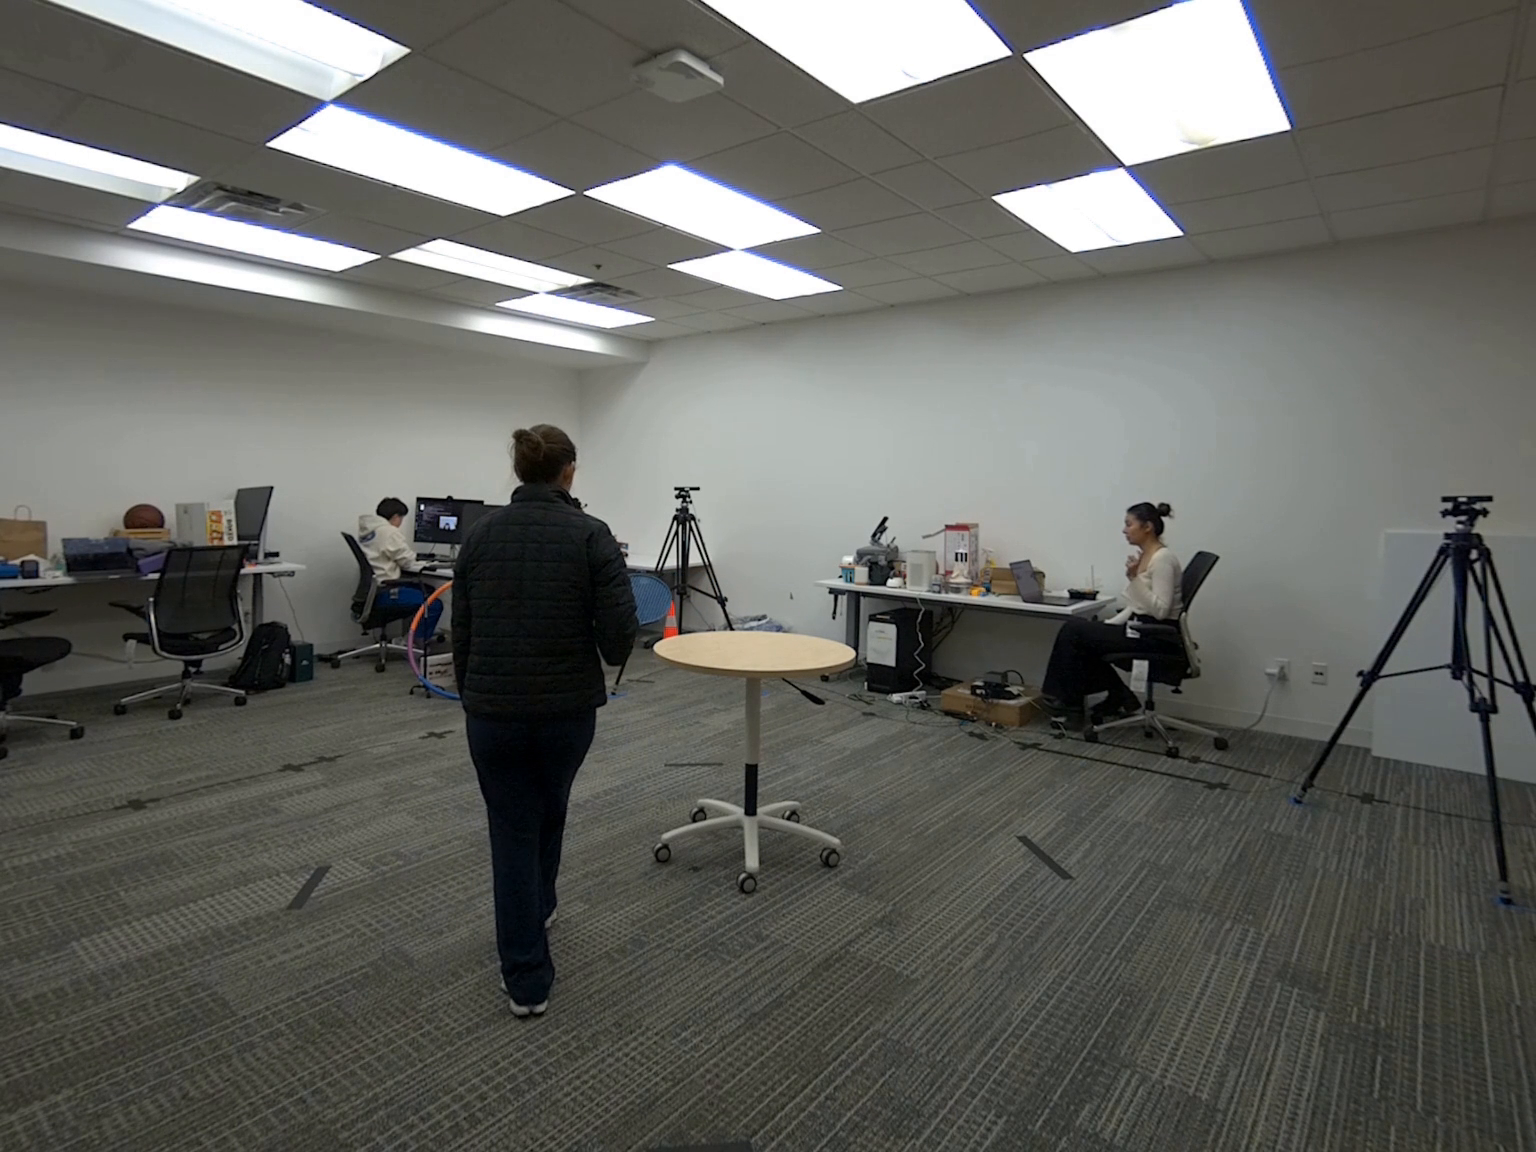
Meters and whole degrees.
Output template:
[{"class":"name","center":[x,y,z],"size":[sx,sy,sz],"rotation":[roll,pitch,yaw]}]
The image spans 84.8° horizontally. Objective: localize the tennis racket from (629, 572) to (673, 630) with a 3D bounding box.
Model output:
[{"class":"tennis racket","center":[-0.401,0.110,2.772],"size":[0.216,0.031,0.436],"rotation":[18,35,7]}]
